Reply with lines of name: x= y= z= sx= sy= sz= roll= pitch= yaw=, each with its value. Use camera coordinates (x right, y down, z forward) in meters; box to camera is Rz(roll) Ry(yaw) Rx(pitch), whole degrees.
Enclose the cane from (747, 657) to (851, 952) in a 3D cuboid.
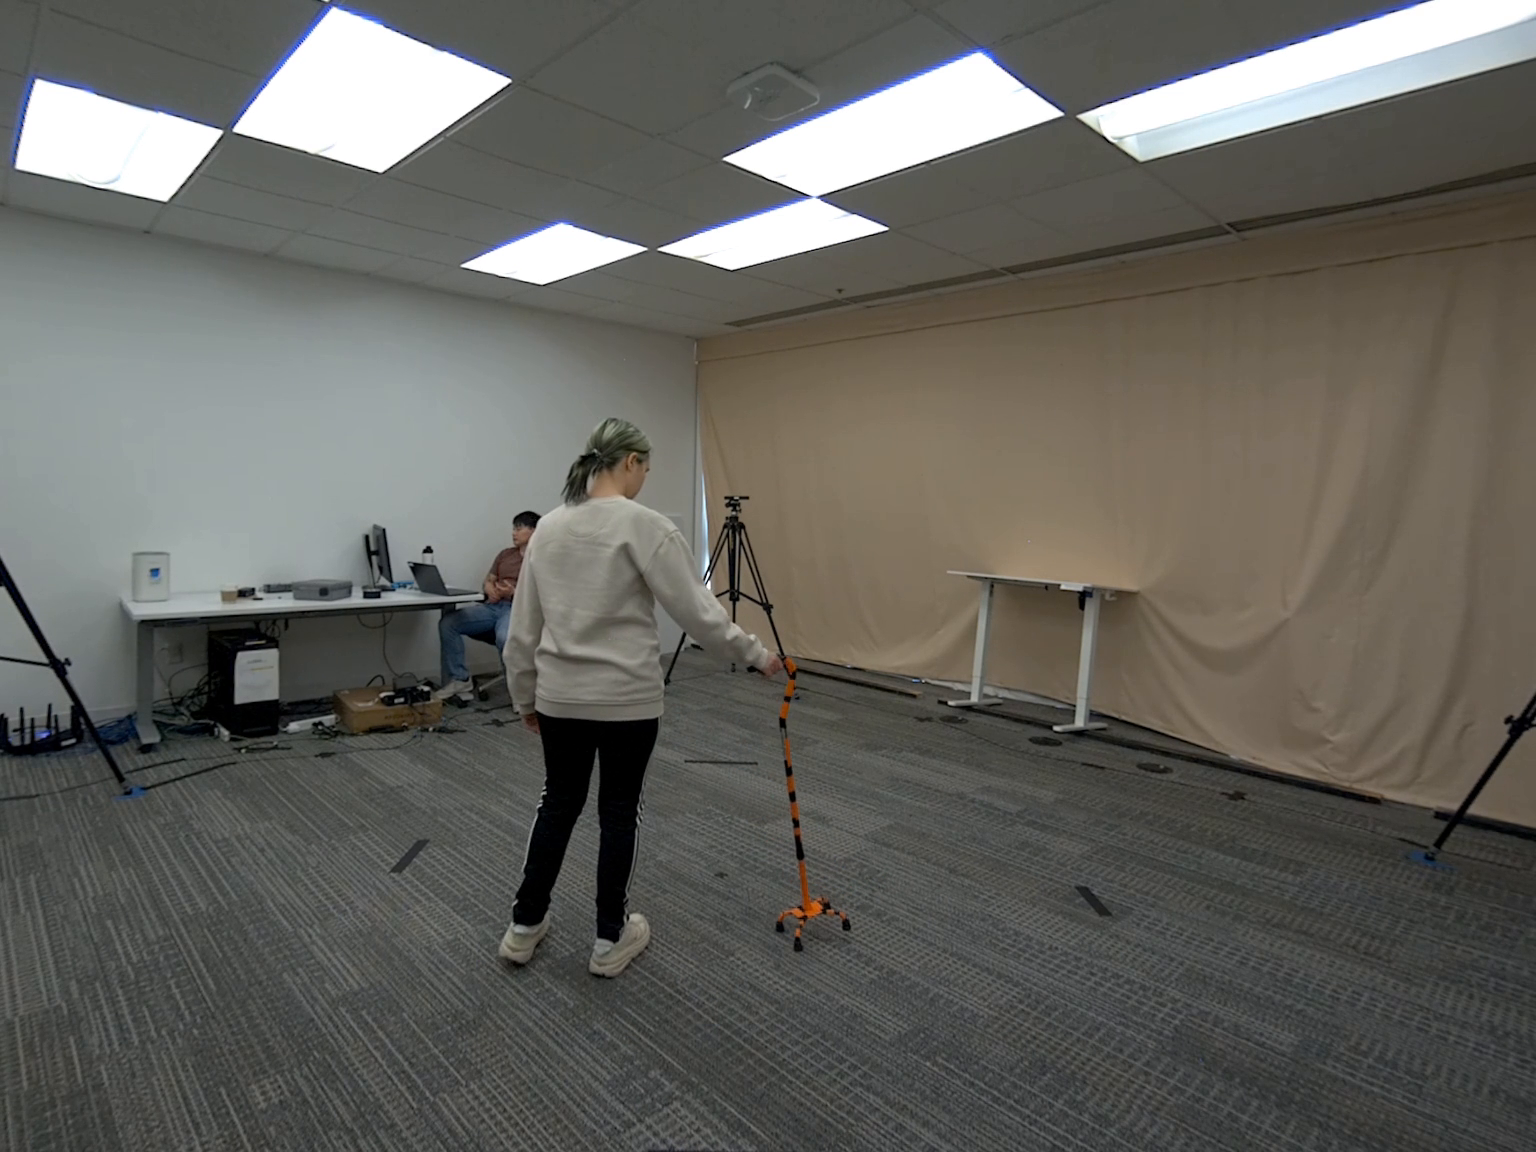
cane: x=0.079 y=0.692 z=2.629 sx=0.203 sy=0.902 sz=0.155 roll=-10 pitch=9 yaw=-25
